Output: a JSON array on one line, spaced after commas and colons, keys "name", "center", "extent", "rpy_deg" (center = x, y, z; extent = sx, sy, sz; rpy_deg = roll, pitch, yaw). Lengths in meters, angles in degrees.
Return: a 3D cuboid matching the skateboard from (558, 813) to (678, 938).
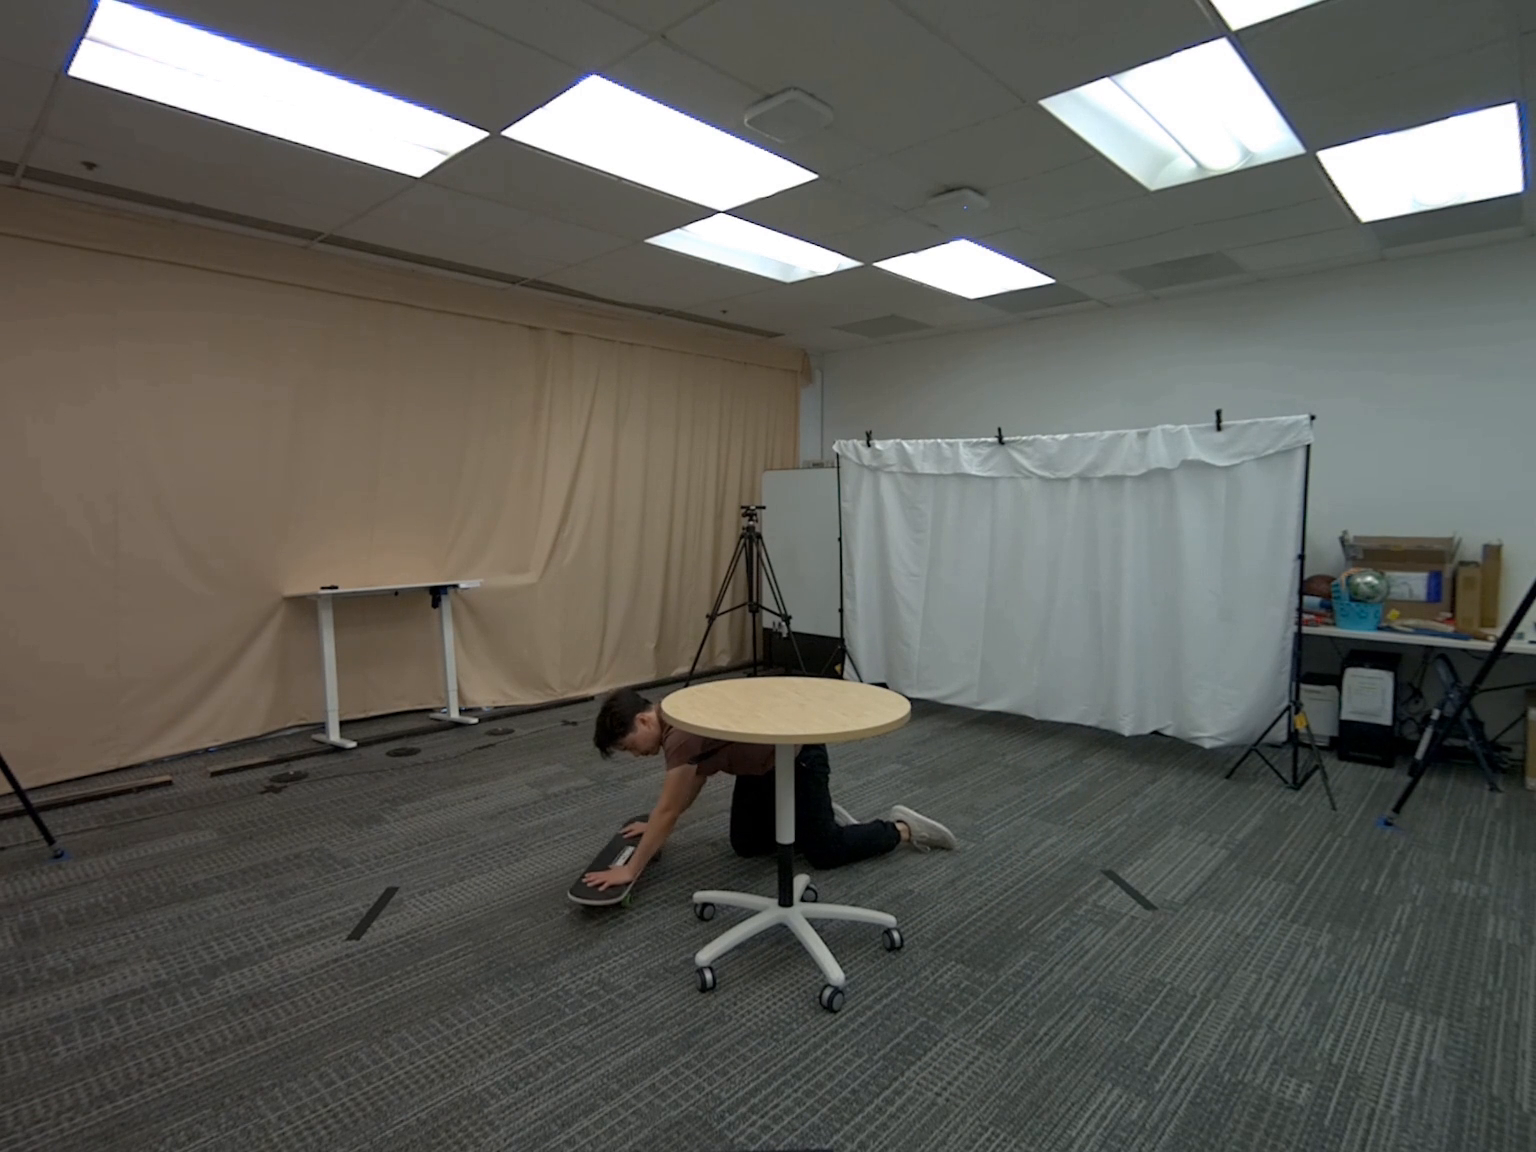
[{"name": "skateboard", "center": [-0.533, 1.079, 3.140], "extent": [0.196, 0.110, 0.778], "rpy_deg": [3, 4, 9]}]
